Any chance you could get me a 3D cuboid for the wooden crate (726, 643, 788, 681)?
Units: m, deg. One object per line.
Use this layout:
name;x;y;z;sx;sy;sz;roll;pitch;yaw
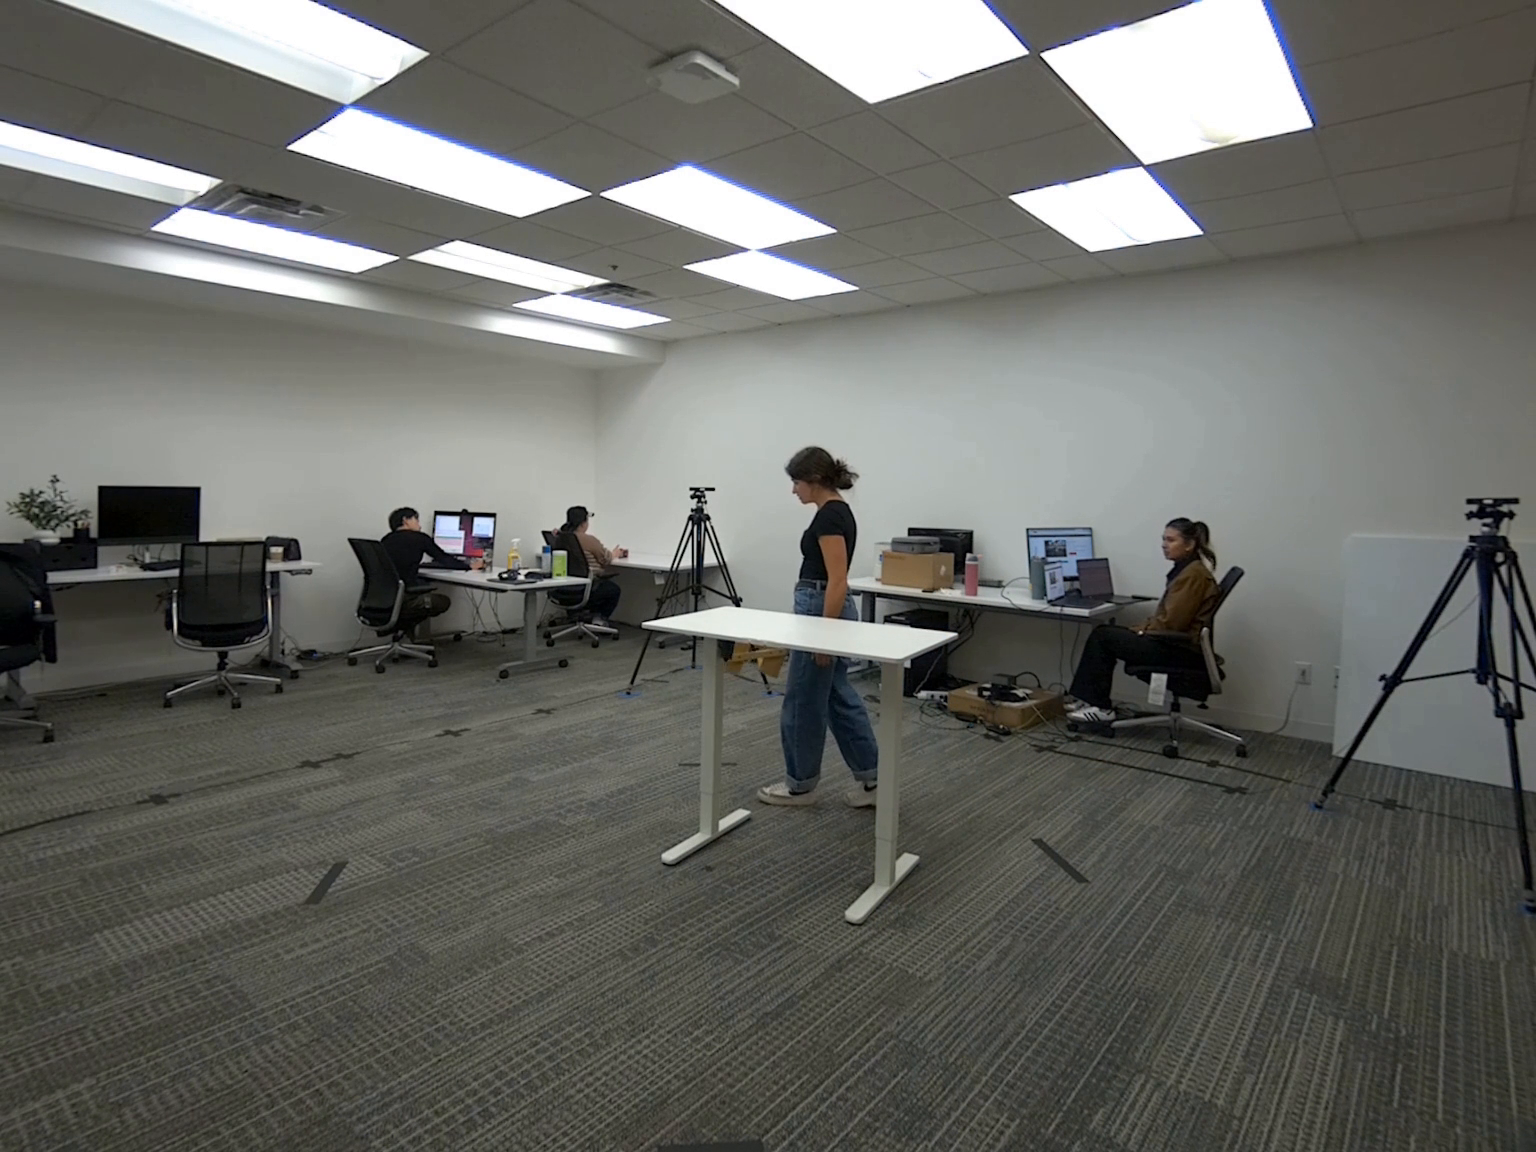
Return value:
wooden crate;-0.068;0.306;4.037;0.273;0.301;0.326;21;7;-2
